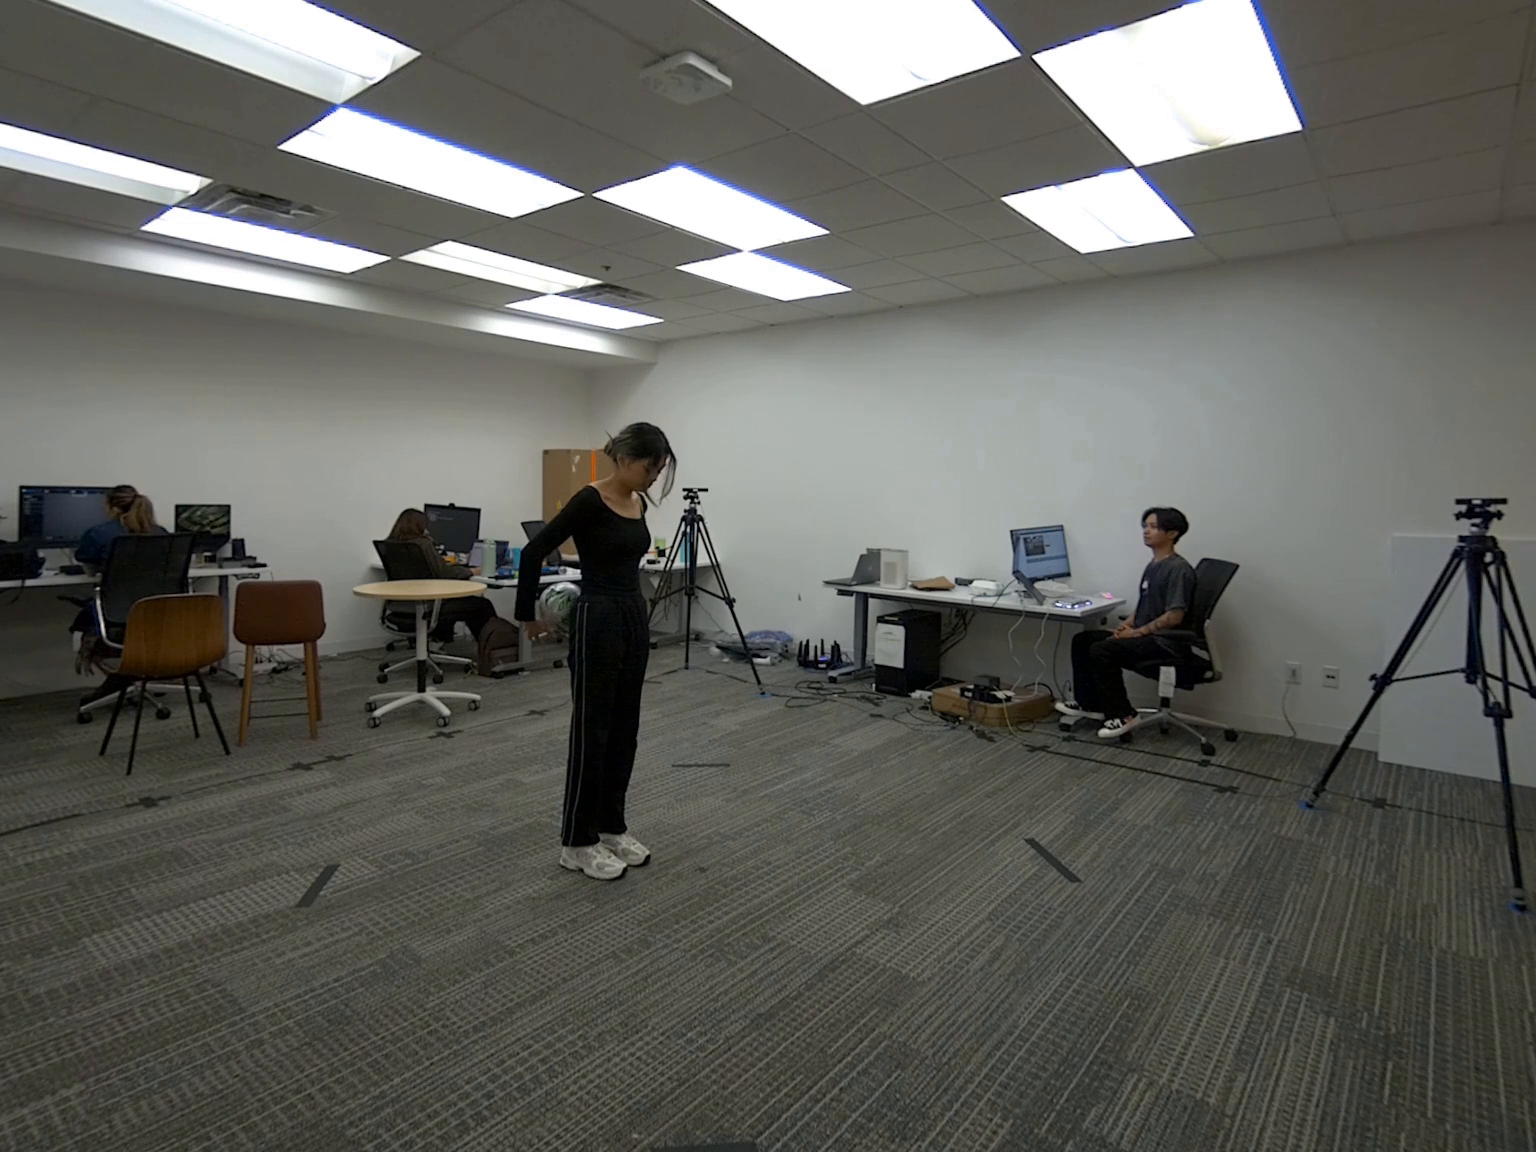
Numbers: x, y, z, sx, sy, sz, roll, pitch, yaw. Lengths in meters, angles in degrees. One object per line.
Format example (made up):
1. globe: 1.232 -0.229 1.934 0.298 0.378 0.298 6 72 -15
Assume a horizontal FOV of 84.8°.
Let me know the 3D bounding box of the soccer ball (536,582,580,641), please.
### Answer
1. soccer ball: -0.794 0.117 3.240 0.187 0.187 0.188 1 4 -2
